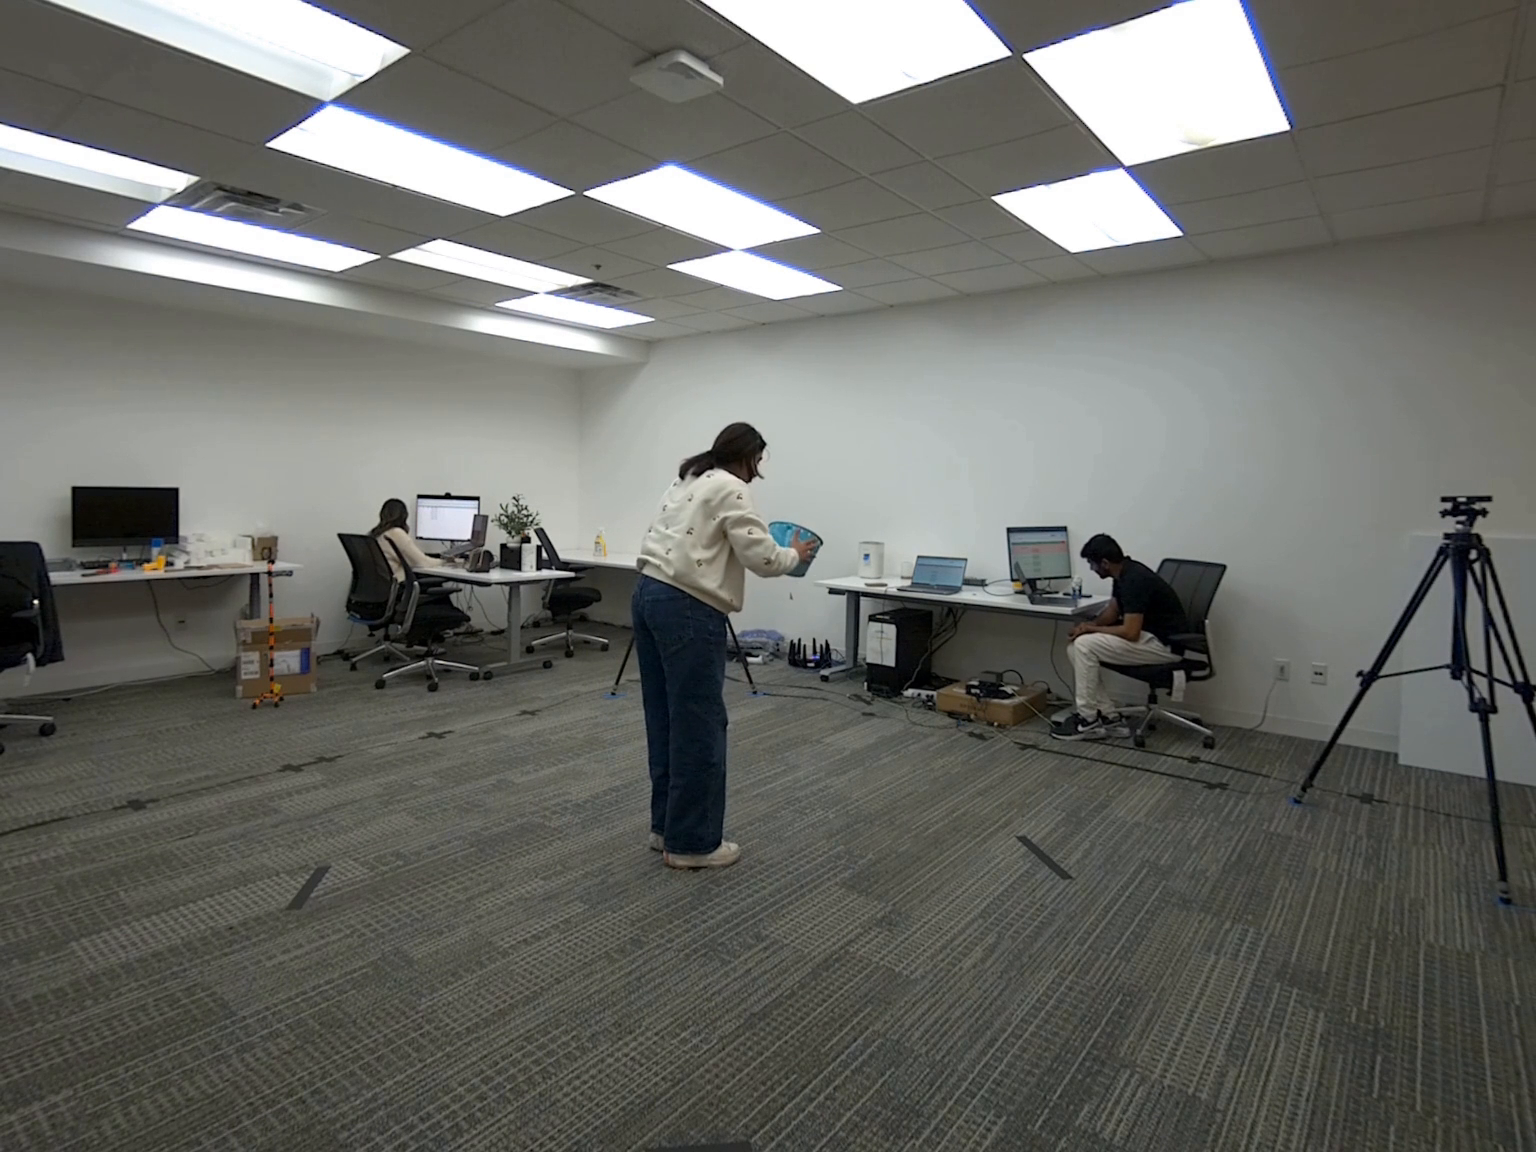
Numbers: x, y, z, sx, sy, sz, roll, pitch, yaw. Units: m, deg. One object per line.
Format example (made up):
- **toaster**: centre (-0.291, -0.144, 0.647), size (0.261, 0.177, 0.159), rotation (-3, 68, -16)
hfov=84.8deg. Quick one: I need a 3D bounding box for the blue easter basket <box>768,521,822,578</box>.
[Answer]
- **blue easter basket**: centre (0.072, -0.099, 3.450), size (0.245, 0.157, 0.240), rotation (19, -16, 4)
